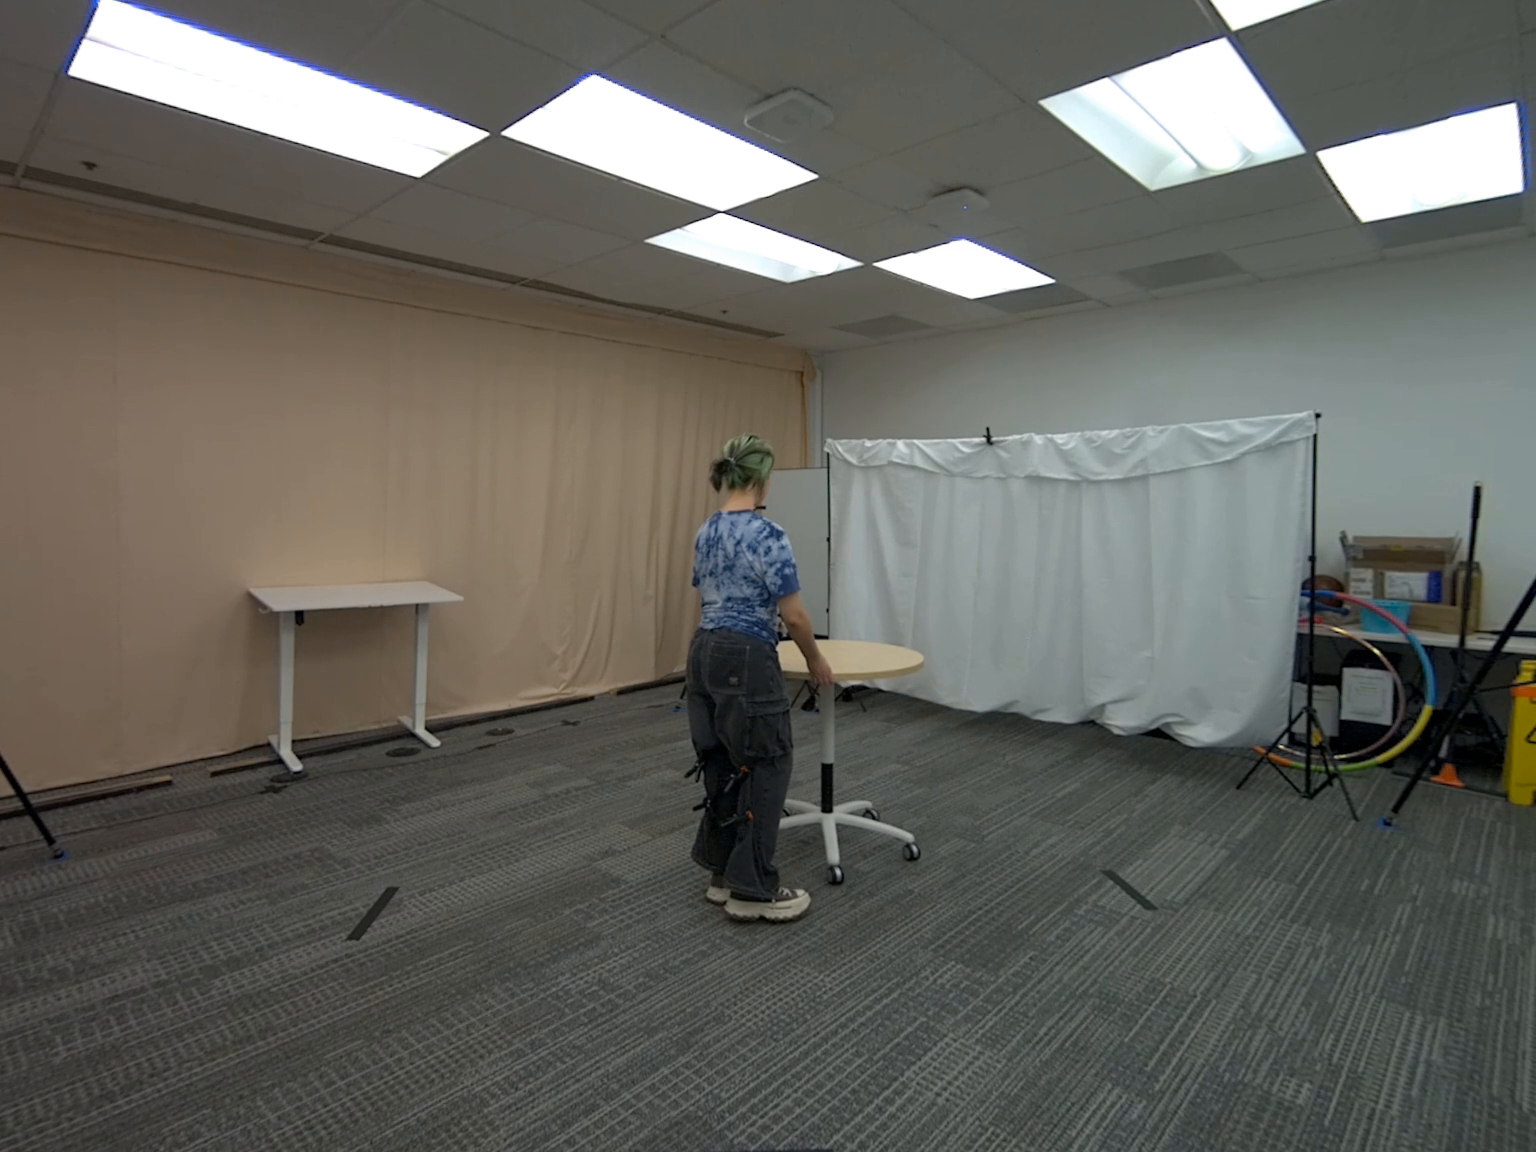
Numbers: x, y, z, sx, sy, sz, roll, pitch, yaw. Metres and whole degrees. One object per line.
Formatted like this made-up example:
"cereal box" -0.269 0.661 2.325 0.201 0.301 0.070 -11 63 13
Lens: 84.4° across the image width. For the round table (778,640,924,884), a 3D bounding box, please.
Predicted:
"round table" 0.245 0.714 3.427 0.763 0.792 0.766 0 3 -2
